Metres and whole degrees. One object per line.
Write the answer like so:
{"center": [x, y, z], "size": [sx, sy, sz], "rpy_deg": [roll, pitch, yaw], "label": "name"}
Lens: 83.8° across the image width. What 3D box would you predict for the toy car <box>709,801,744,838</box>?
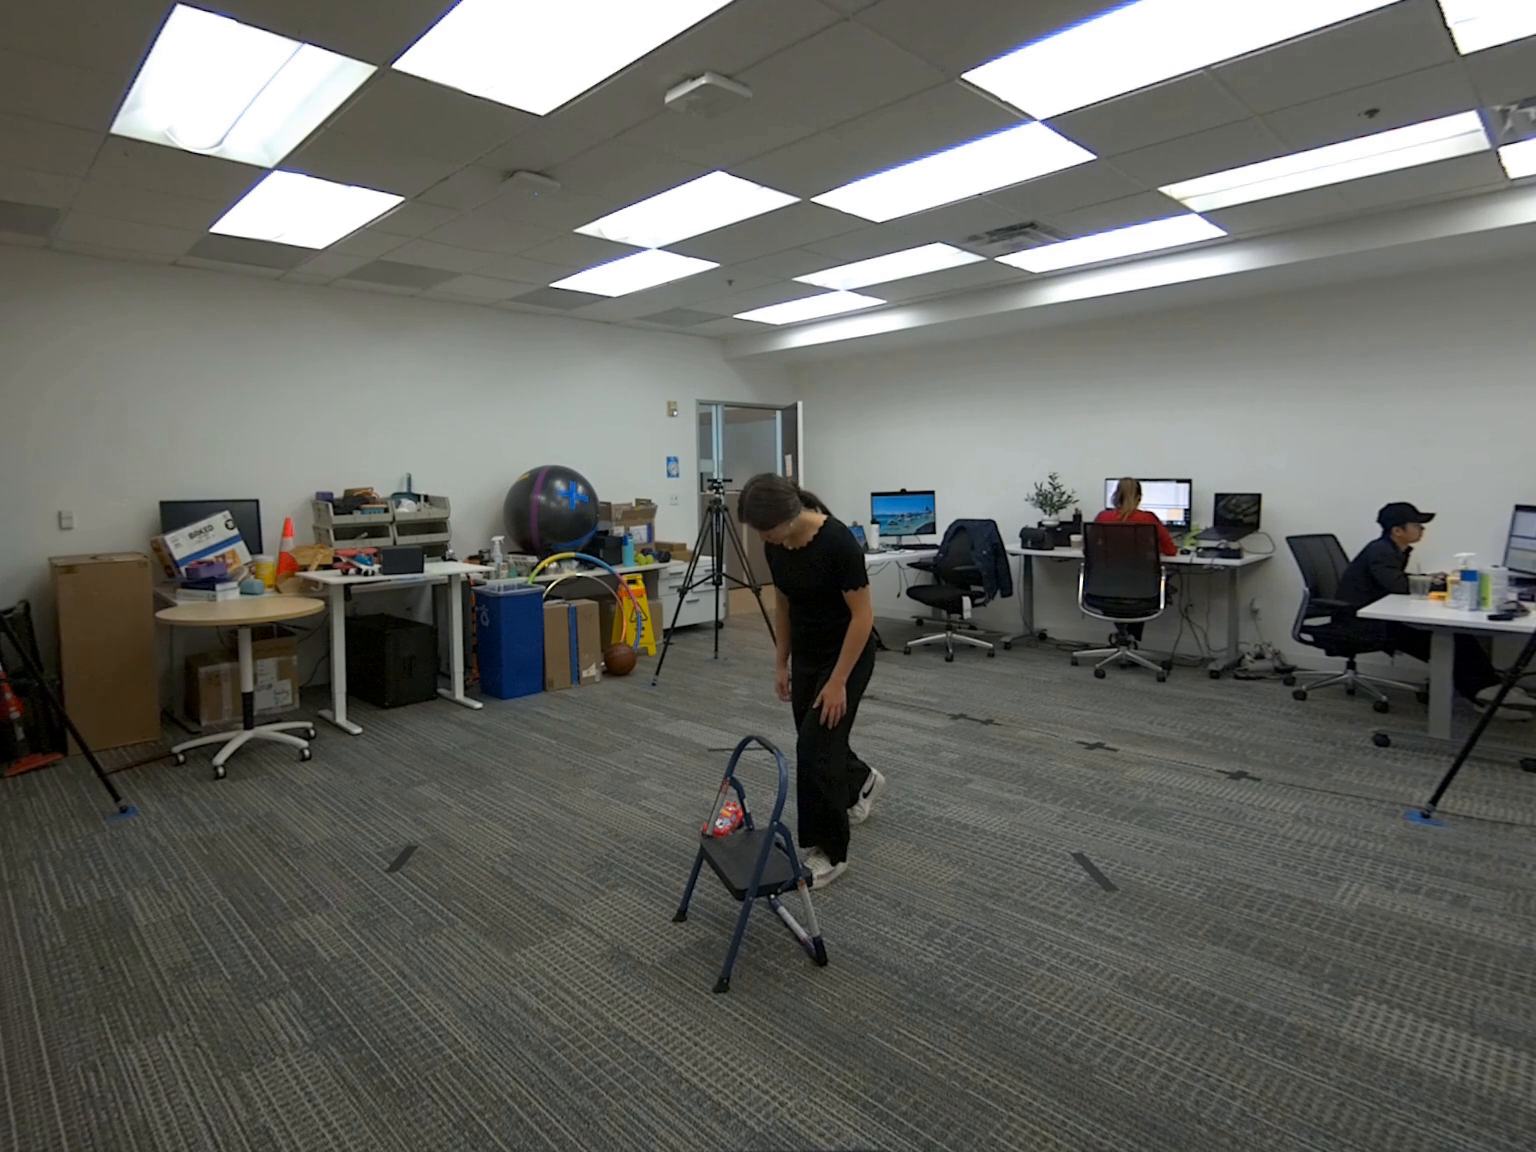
{"center": [-0.166, 0.984, 3.415], "size": [0.133, 0.082, 0.253], "rpy_deg": [-3, 15, 19], "label": "toy car"}
